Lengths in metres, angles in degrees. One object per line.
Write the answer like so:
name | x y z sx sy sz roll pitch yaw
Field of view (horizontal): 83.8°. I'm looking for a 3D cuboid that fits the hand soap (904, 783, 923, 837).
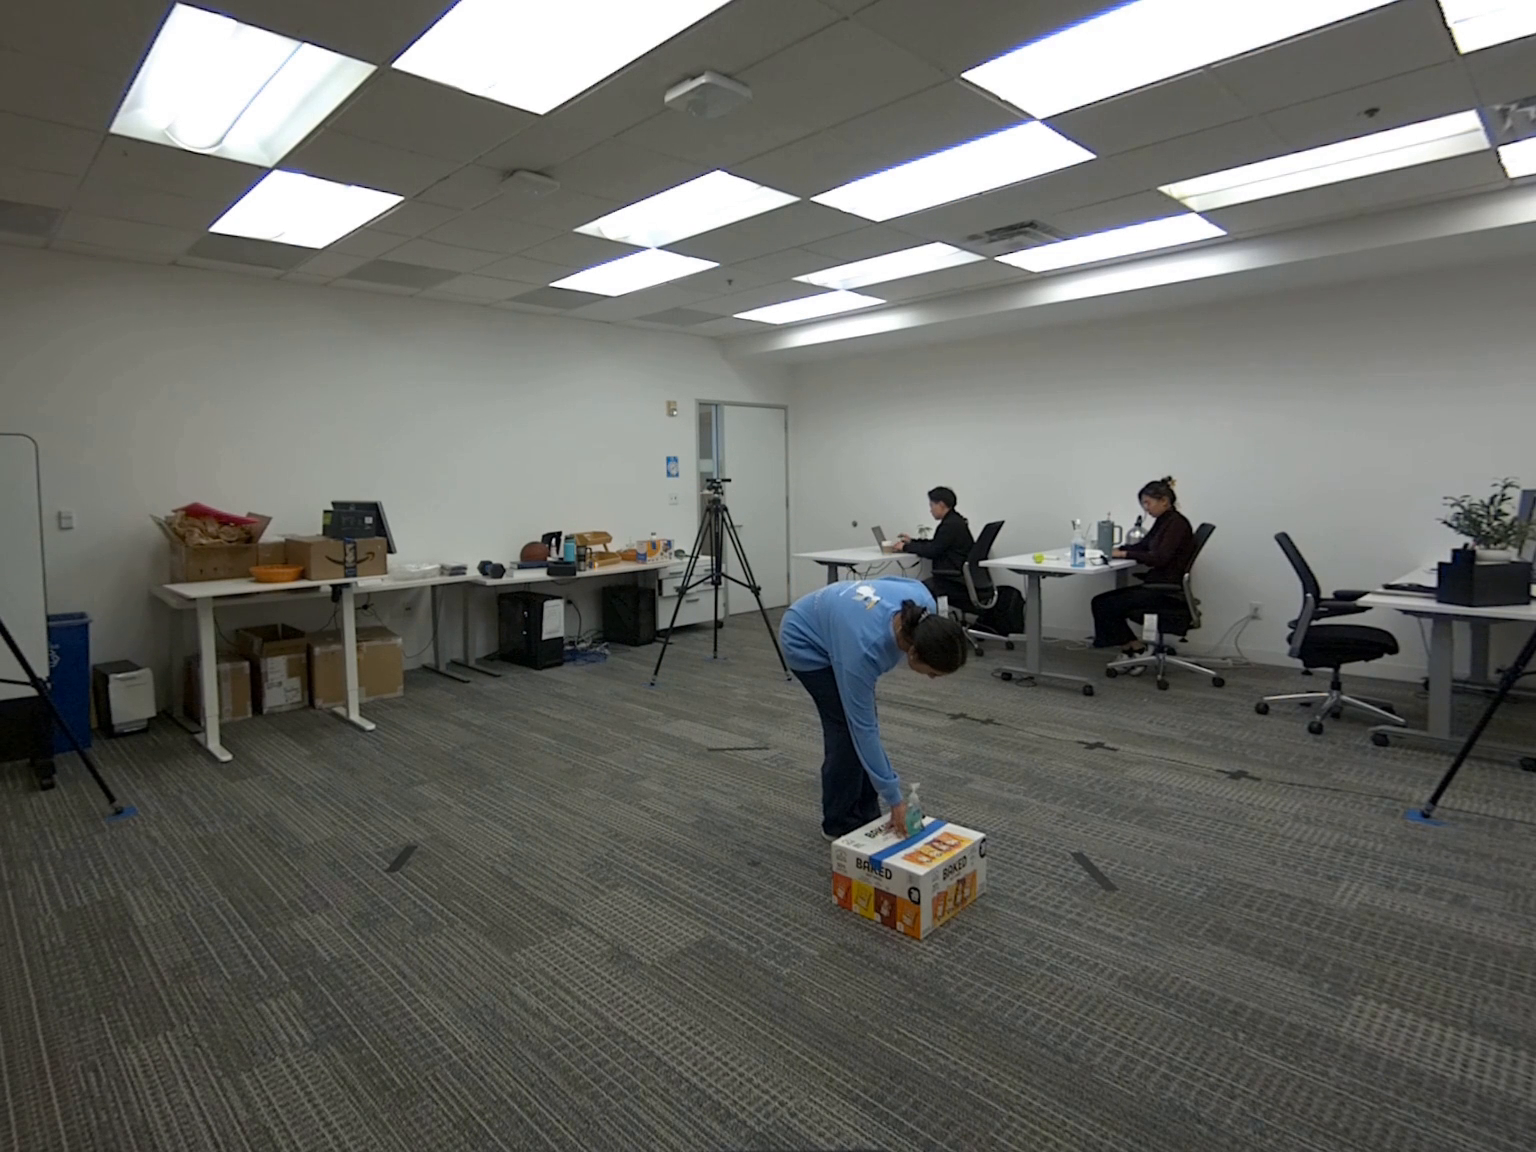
hand soap | 0.498 0.786 2.872 0.045 0.167 0.082 6 10 39
